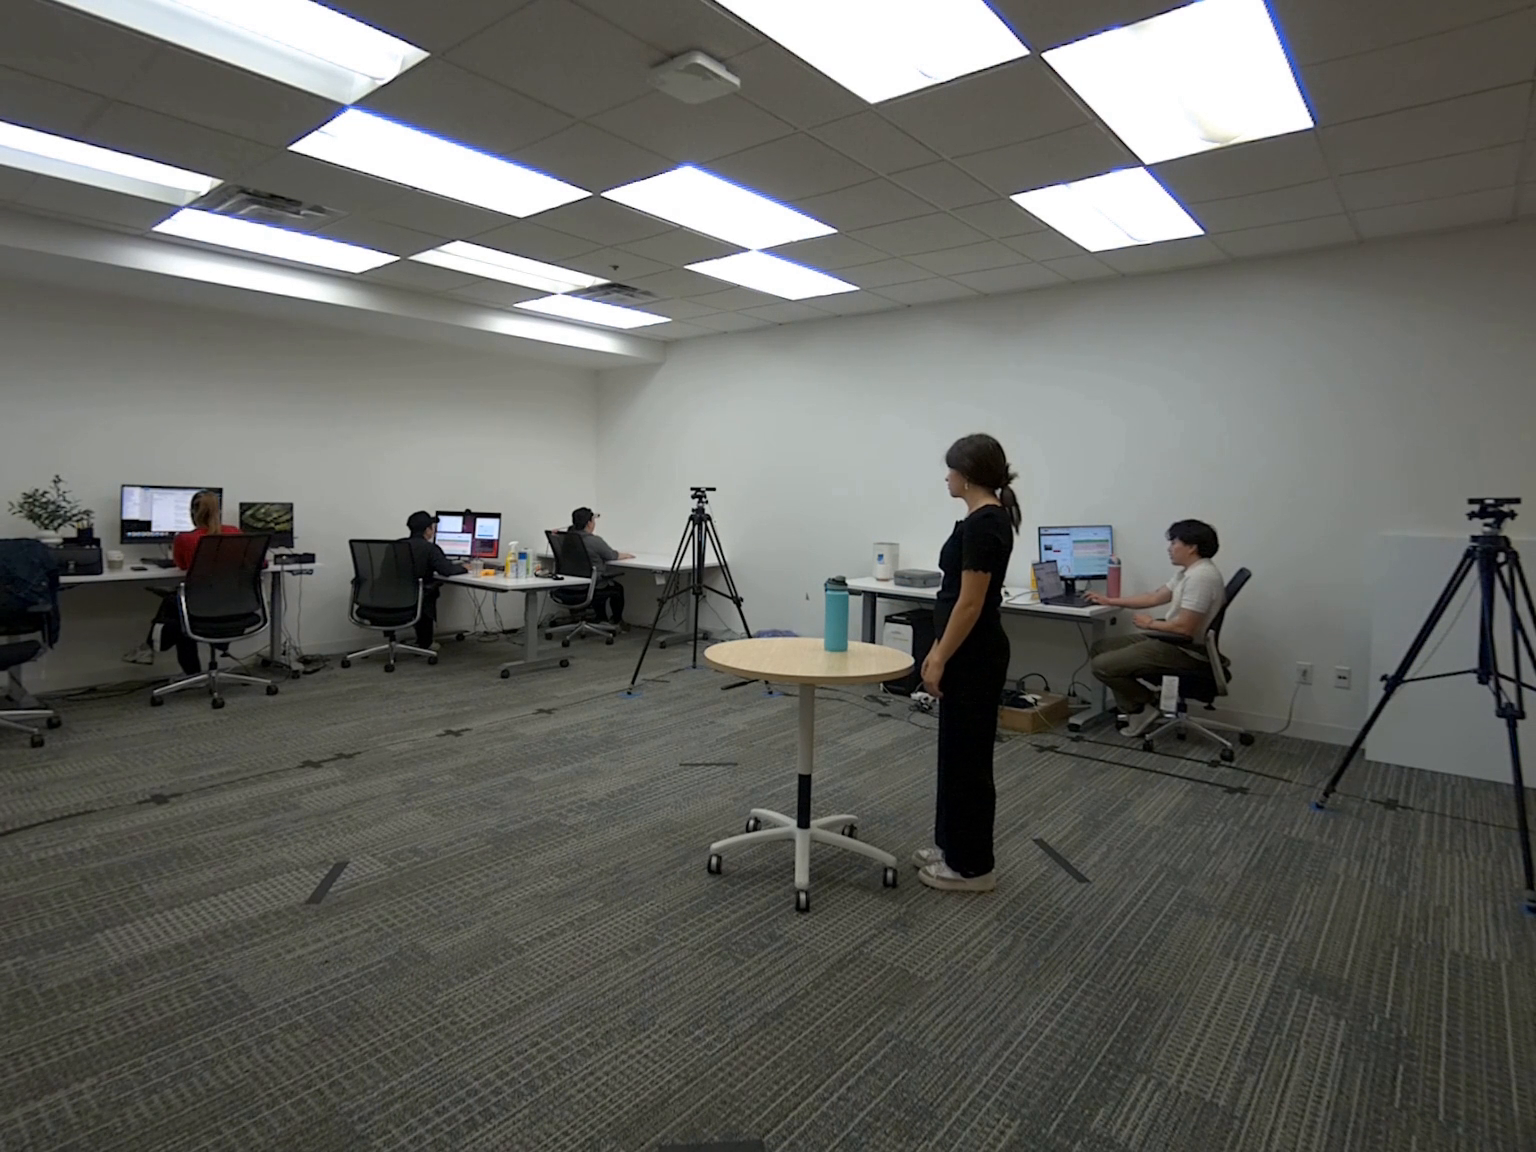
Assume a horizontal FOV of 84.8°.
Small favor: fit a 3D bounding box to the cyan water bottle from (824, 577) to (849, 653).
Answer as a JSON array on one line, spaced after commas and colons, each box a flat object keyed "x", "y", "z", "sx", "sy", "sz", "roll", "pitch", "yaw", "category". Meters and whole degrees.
[{"x": 0.248, "y": 0.140, "z": 3.245, "sx": 0.092, "sy": 0.282, "sz": 0.093, "roll": -1, "pitch": 4, "yaw": -2, "category": "cyan water bottle"}]
